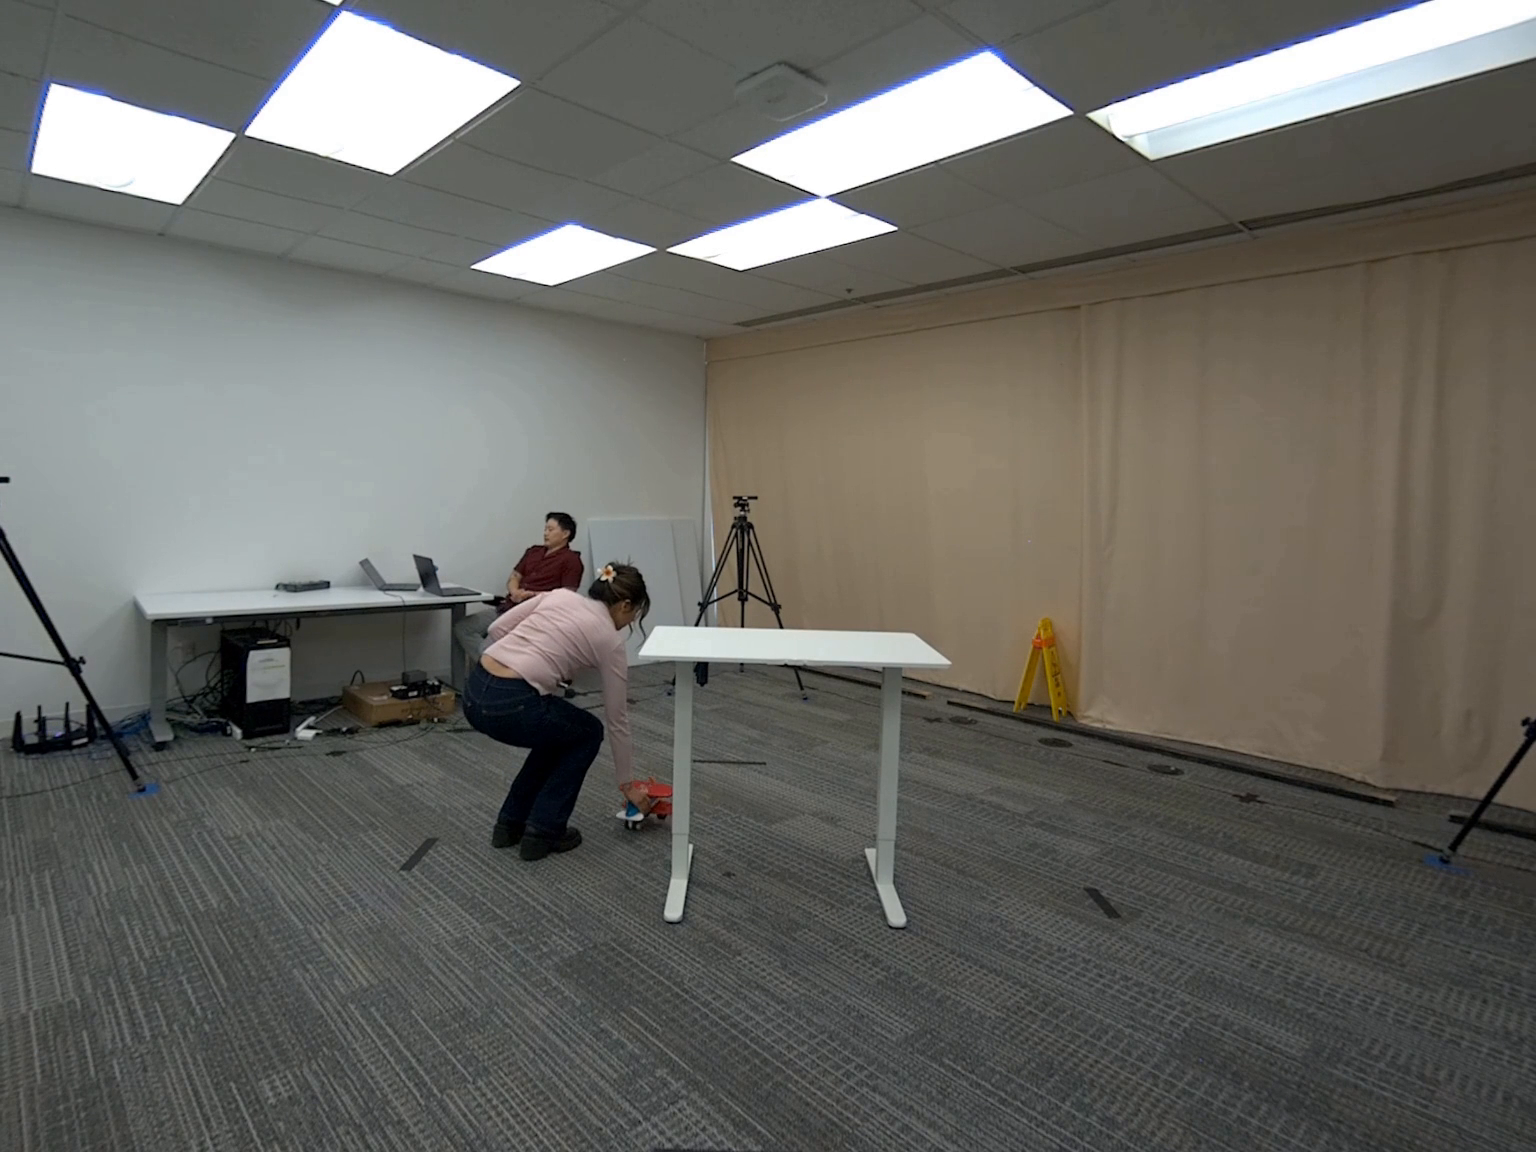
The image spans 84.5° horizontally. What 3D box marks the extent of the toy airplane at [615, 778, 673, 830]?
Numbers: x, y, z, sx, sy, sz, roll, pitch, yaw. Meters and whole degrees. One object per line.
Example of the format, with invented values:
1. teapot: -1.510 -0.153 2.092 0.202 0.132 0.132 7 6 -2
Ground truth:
1. toy airplane: -0.514 0.954 3.518 0.250 0.156 0.260 1 0 -5
